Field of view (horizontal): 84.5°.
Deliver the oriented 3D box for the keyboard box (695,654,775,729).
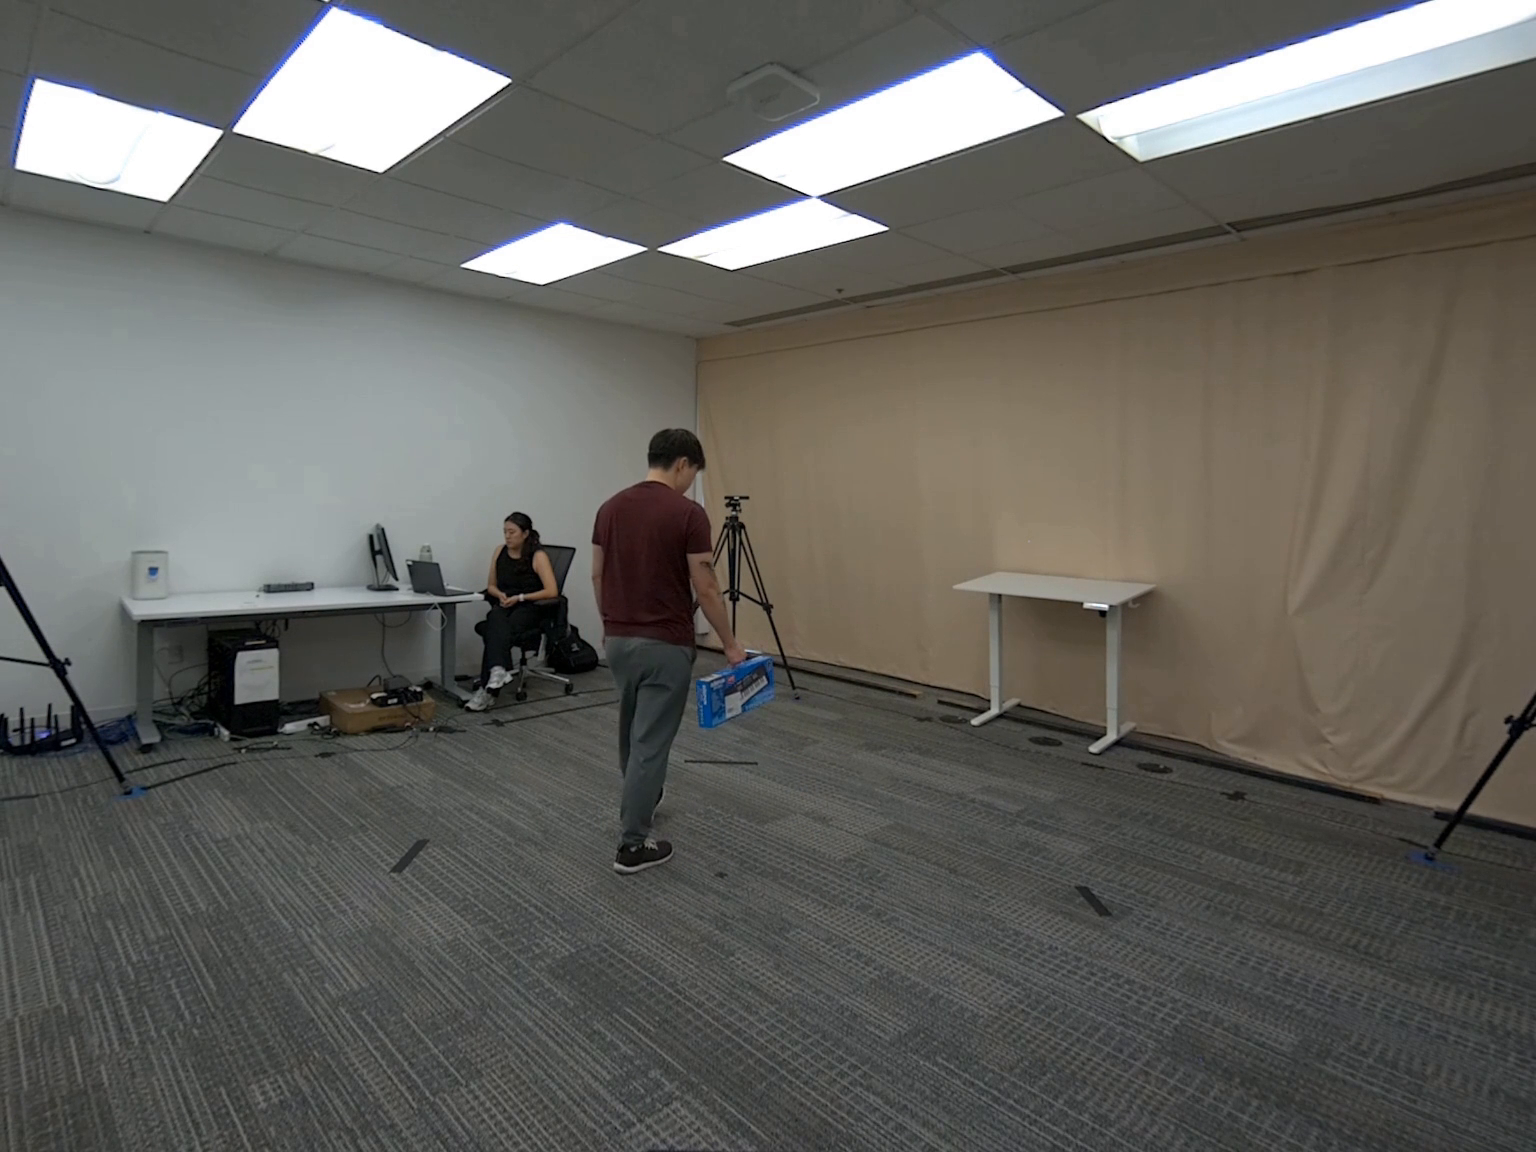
[{"bbox_3d":[-0.132,0.440,3.214,0.060,0.175,0.429,0,8,32],"label":"keyboard box"}]
